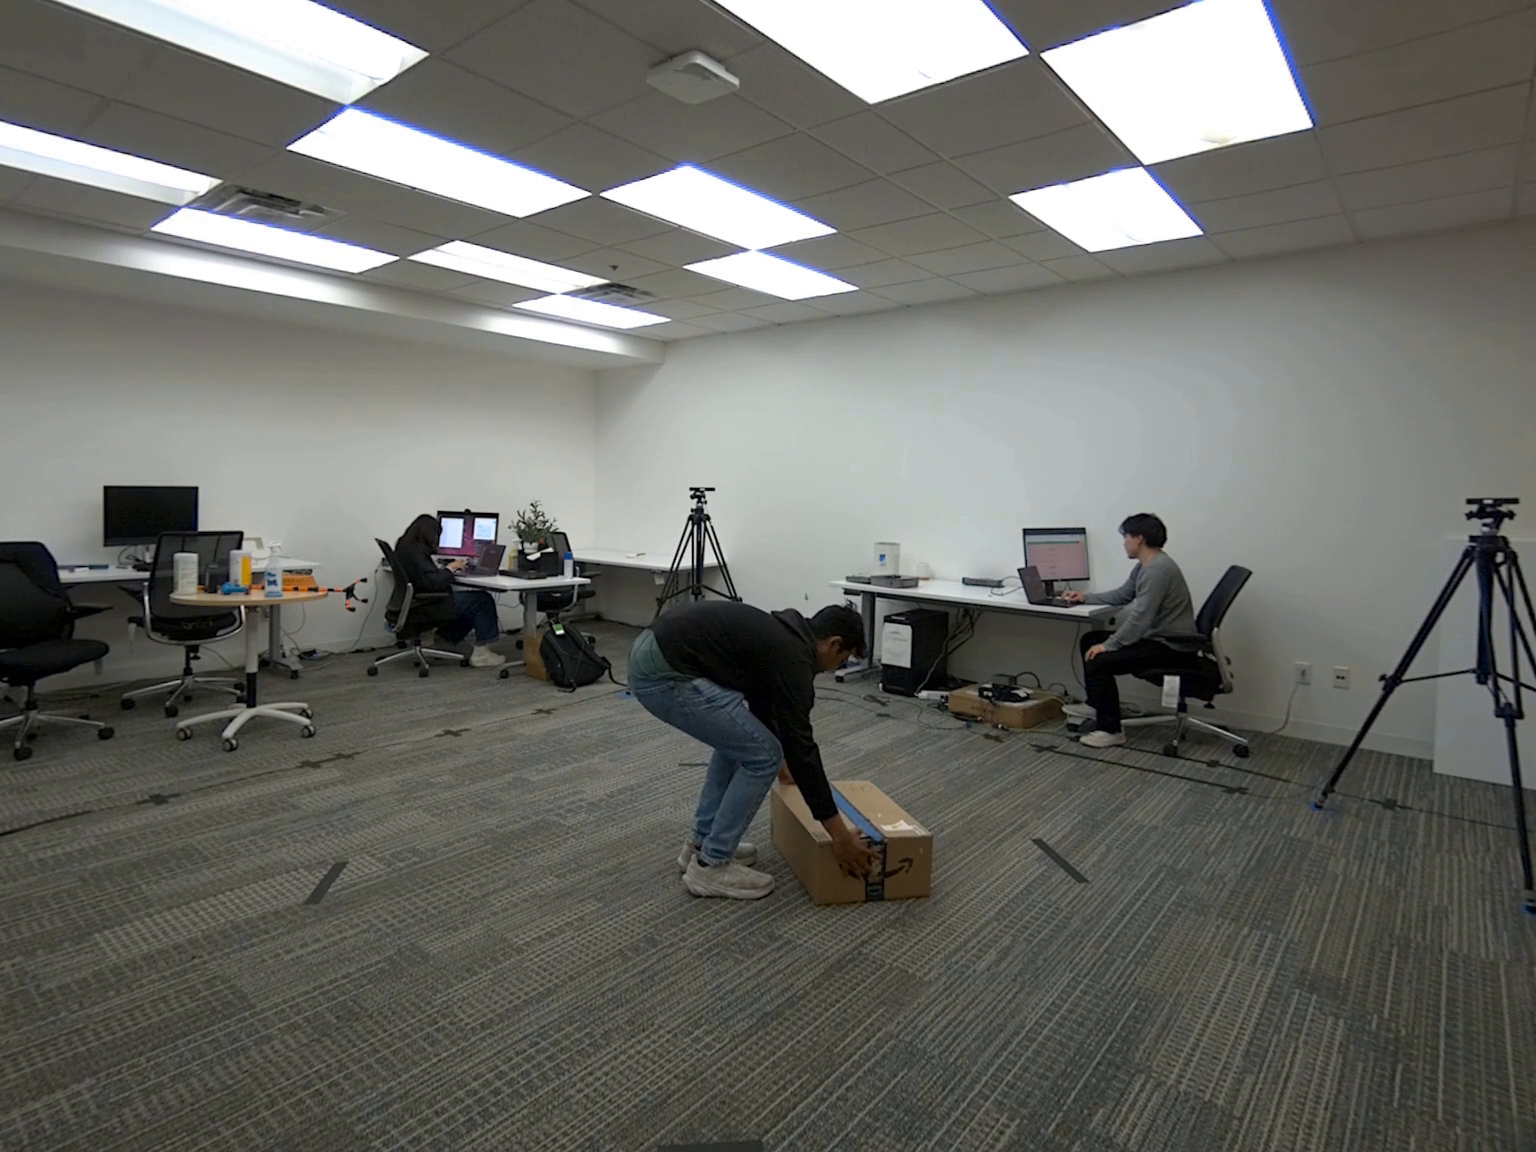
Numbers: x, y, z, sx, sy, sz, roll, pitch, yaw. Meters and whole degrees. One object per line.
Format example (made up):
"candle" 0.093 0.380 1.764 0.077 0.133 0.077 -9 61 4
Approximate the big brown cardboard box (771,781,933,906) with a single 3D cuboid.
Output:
"big brown cardboard box" 0.281 0.956 3.144 0.411 0.232 0.600 1 5 -16
